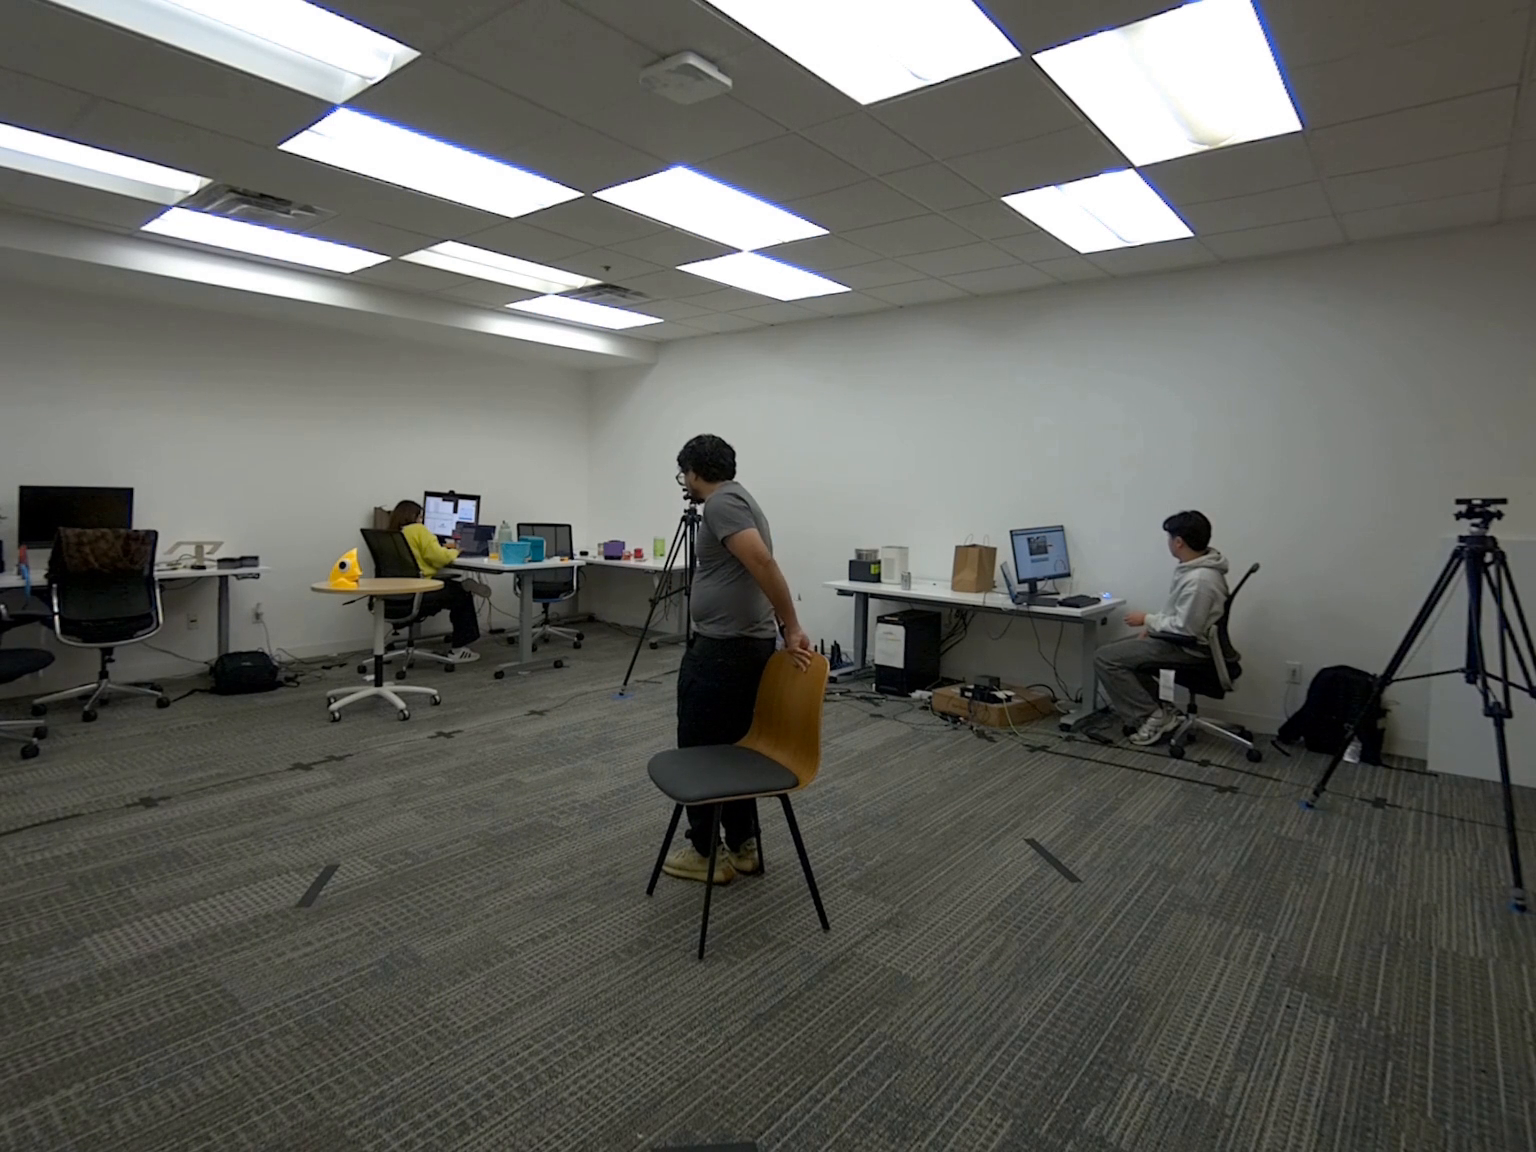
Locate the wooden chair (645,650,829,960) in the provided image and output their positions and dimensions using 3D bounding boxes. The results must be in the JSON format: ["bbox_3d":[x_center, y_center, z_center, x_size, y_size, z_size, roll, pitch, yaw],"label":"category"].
[{"bbox_3d":[-0.114,0.681,2.762,0.509,0.876,0.492,4,2,-27],"label":"wooden chair"}]
